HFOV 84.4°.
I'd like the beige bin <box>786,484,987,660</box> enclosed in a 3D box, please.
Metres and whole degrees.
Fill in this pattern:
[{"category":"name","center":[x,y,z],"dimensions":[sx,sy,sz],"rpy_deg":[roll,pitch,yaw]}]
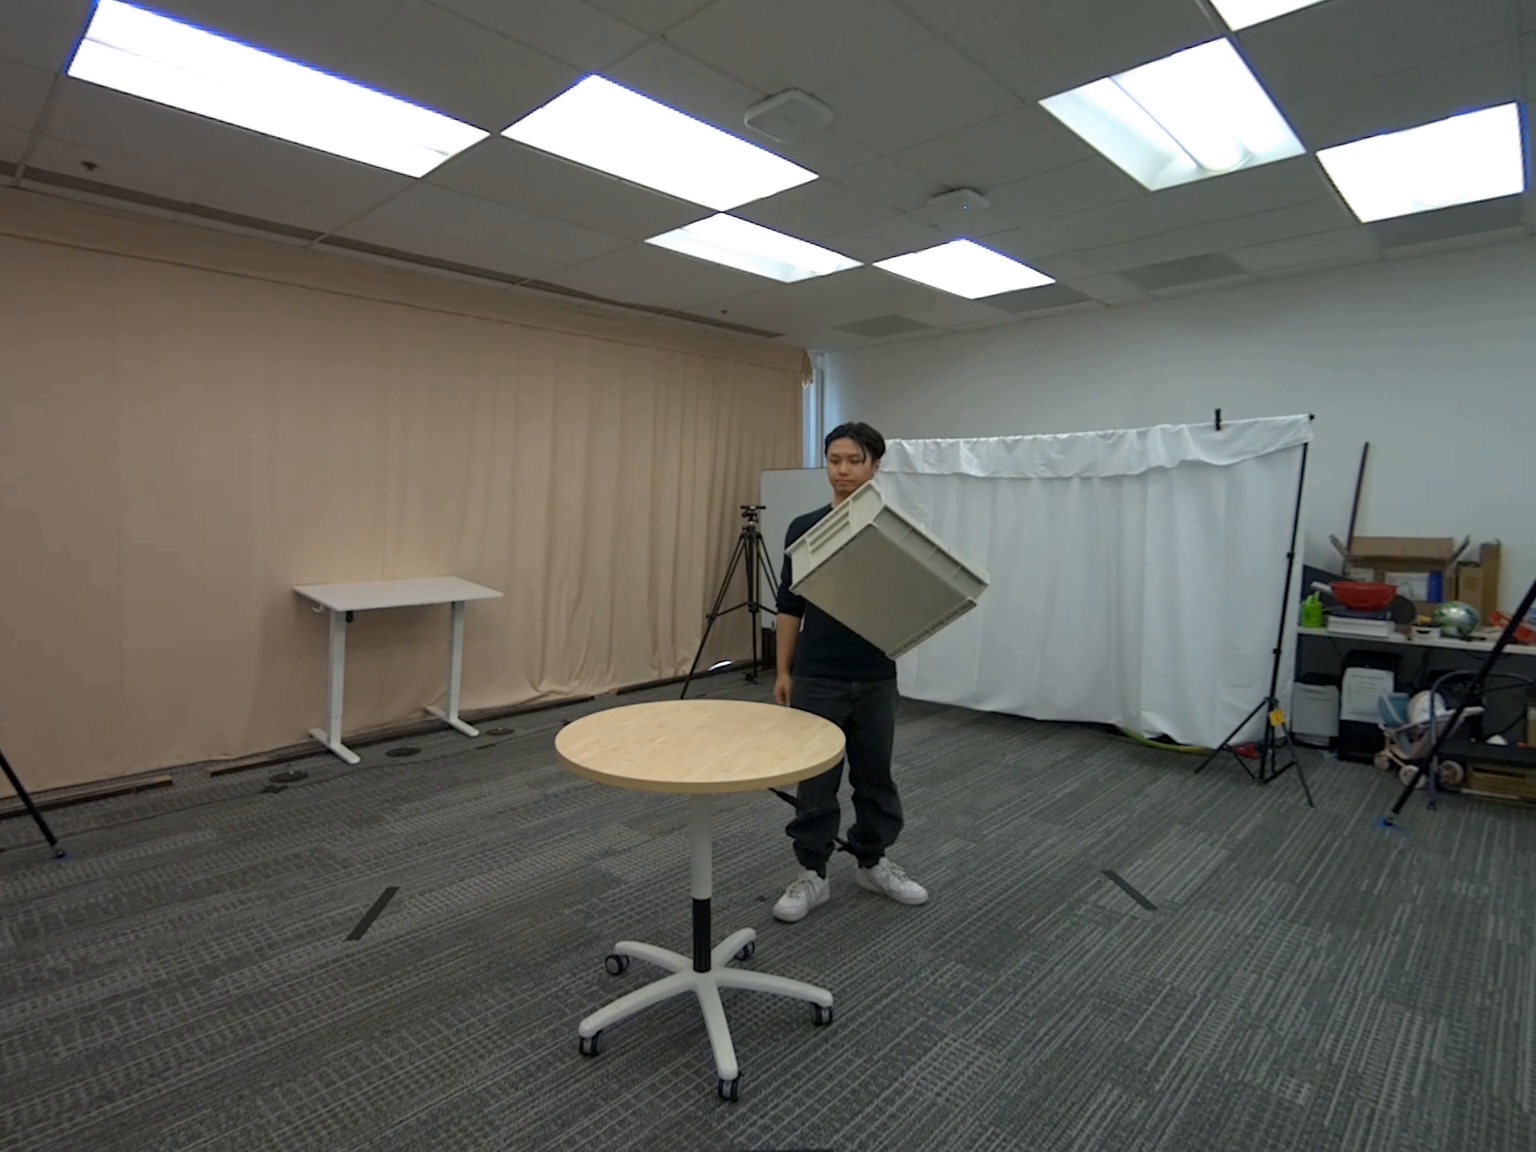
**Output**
[{"category":"beige bin","center":[0.333,-0.005,2.364],"dimensions":[0.412,0.192,0.381],"rpy_deg":[35,-54,-22]}]
